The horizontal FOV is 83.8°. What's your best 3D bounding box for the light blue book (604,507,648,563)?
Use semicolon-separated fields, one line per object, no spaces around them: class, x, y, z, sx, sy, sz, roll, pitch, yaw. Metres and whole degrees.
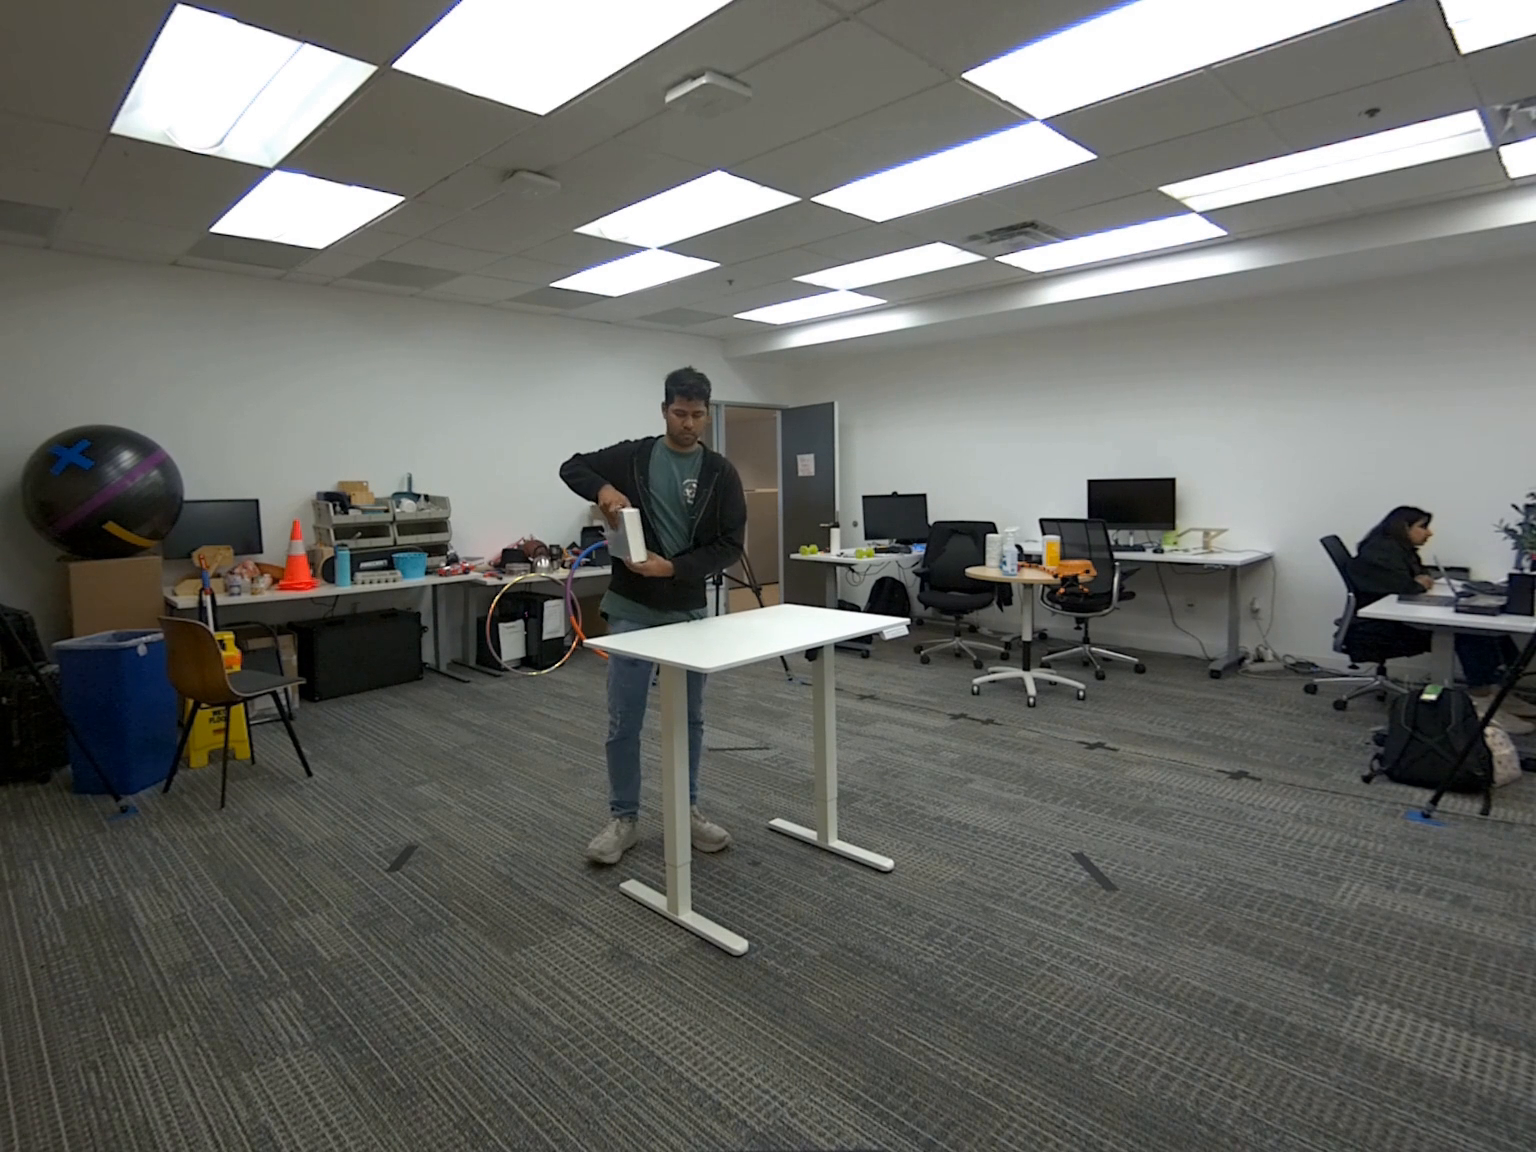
light blue book;-0.528;-0.153;3.109;0.058;0.190;0.268;-10;10;-25
